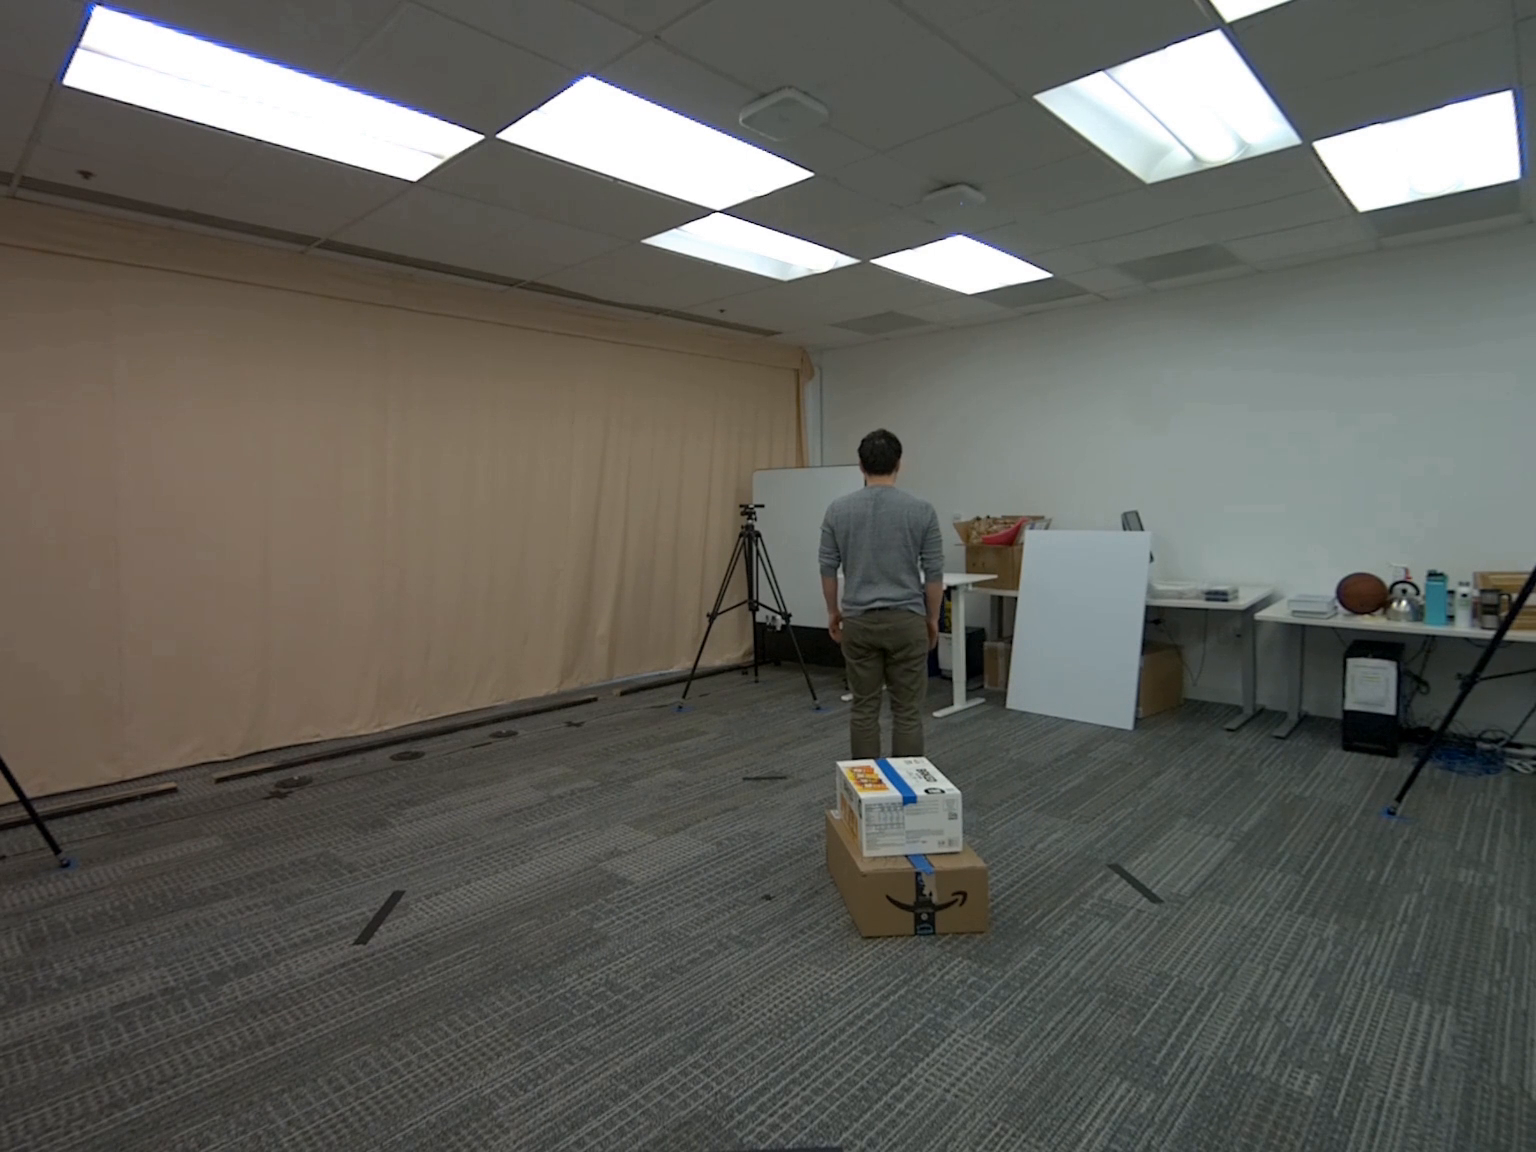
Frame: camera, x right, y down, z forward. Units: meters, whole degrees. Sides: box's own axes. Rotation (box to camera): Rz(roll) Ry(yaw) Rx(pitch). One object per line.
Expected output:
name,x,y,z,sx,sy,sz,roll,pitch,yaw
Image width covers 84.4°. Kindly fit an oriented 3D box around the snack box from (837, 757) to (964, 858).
snack box,0.458,0.815,2.997,0.339,0.205,0.408,-3,5,-6
